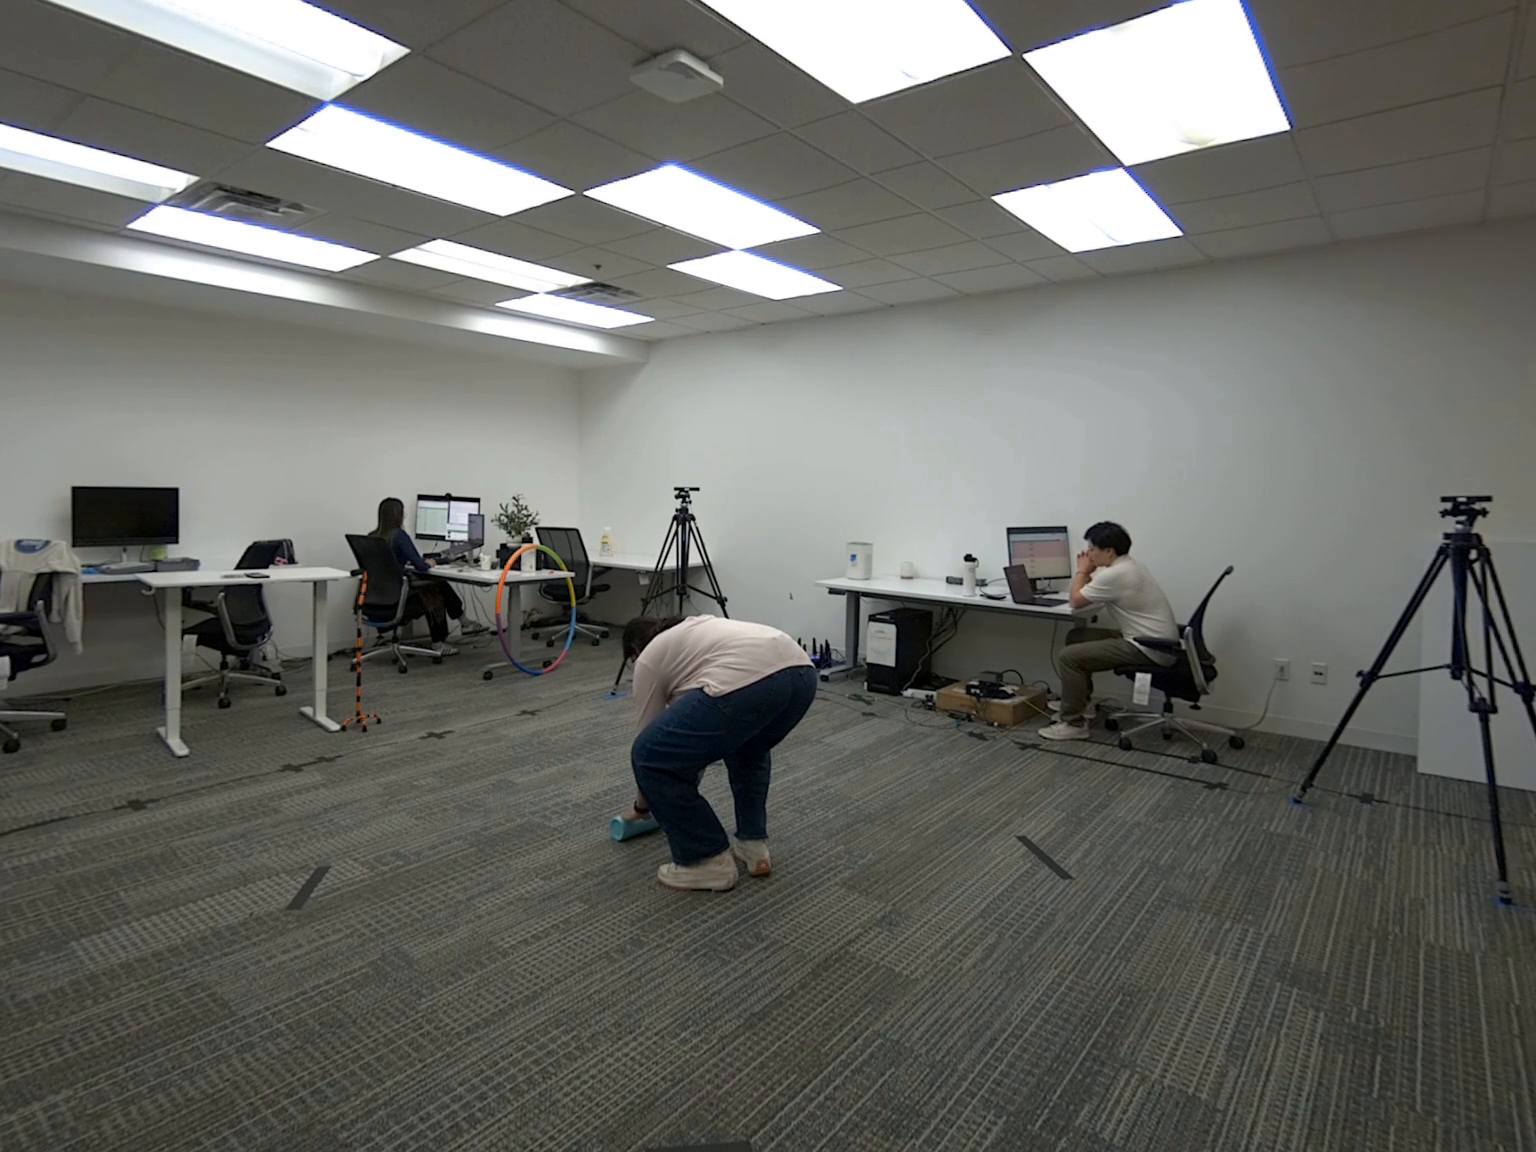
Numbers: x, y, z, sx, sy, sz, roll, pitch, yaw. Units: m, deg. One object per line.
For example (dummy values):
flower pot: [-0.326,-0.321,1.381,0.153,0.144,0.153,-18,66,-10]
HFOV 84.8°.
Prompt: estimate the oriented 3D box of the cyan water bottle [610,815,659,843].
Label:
cyan water bottle: [-0.515,0.980,3.436,0.095,0.092,0.275,4,6,42]
